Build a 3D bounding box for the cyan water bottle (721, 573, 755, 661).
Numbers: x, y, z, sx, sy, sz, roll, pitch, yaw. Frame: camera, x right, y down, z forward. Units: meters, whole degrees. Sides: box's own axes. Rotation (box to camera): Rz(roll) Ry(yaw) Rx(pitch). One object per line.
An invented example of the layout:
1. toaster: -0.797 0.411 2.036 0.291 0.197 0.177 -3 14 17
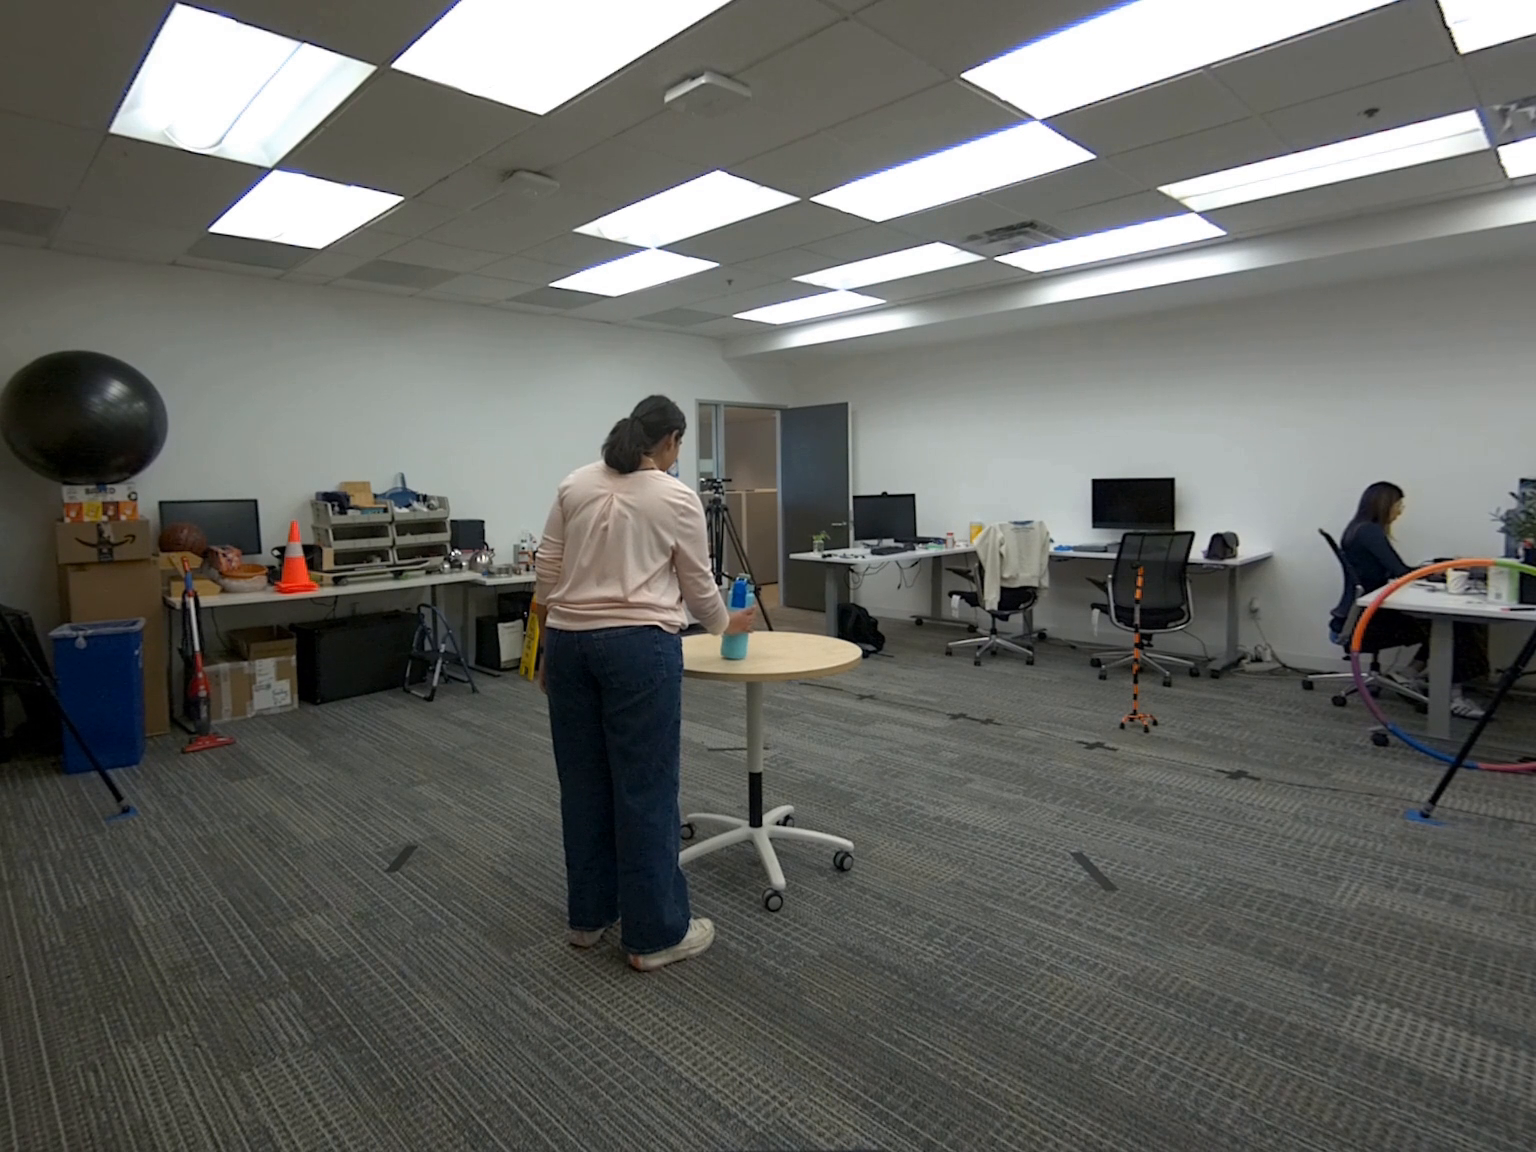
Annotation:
1. cyan water bottle: -0.101 0.141 2.915 0.092 0.282 0.093 7 4 -2
